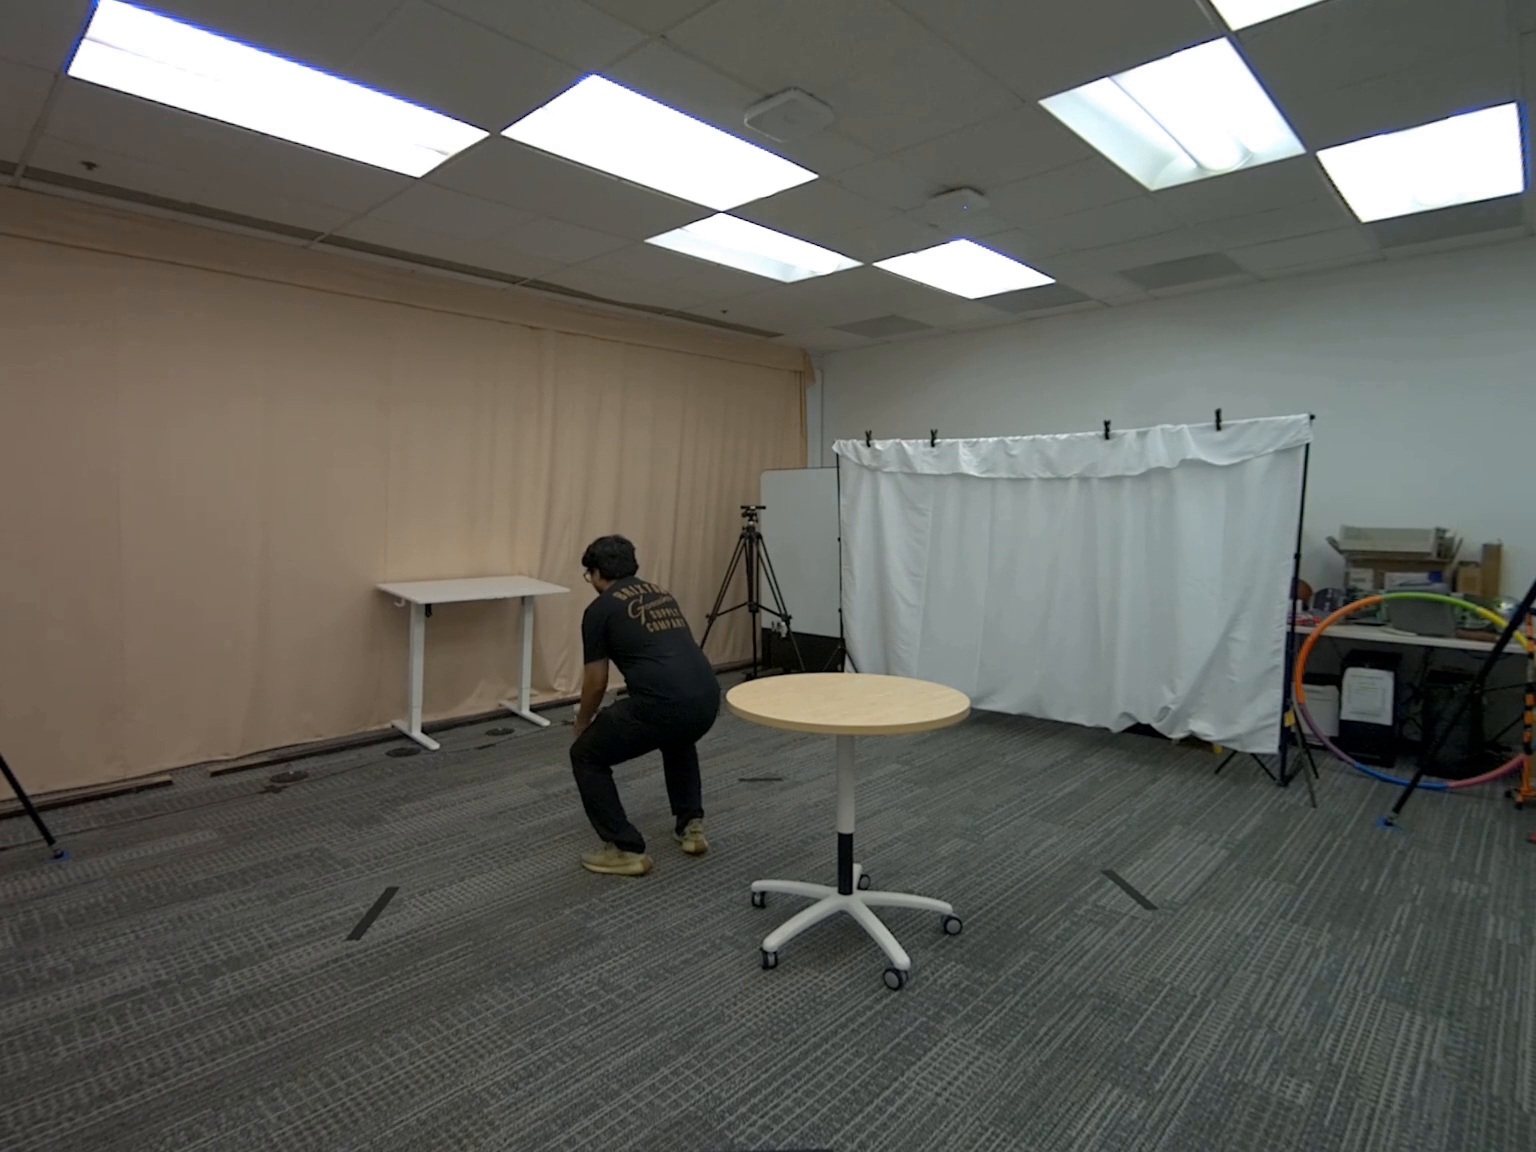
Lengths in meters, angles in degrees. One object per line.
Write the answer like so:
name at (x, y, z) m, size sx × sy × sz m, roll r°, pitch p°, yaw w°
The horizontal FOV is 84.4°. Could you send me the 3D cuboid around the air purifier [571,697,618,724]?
air purifier at (-0.733, 0.670, 3.634) m, size 0.166 × 0.267 × 0.176 m, roll 1°, pitch -13°, yaw -39°
